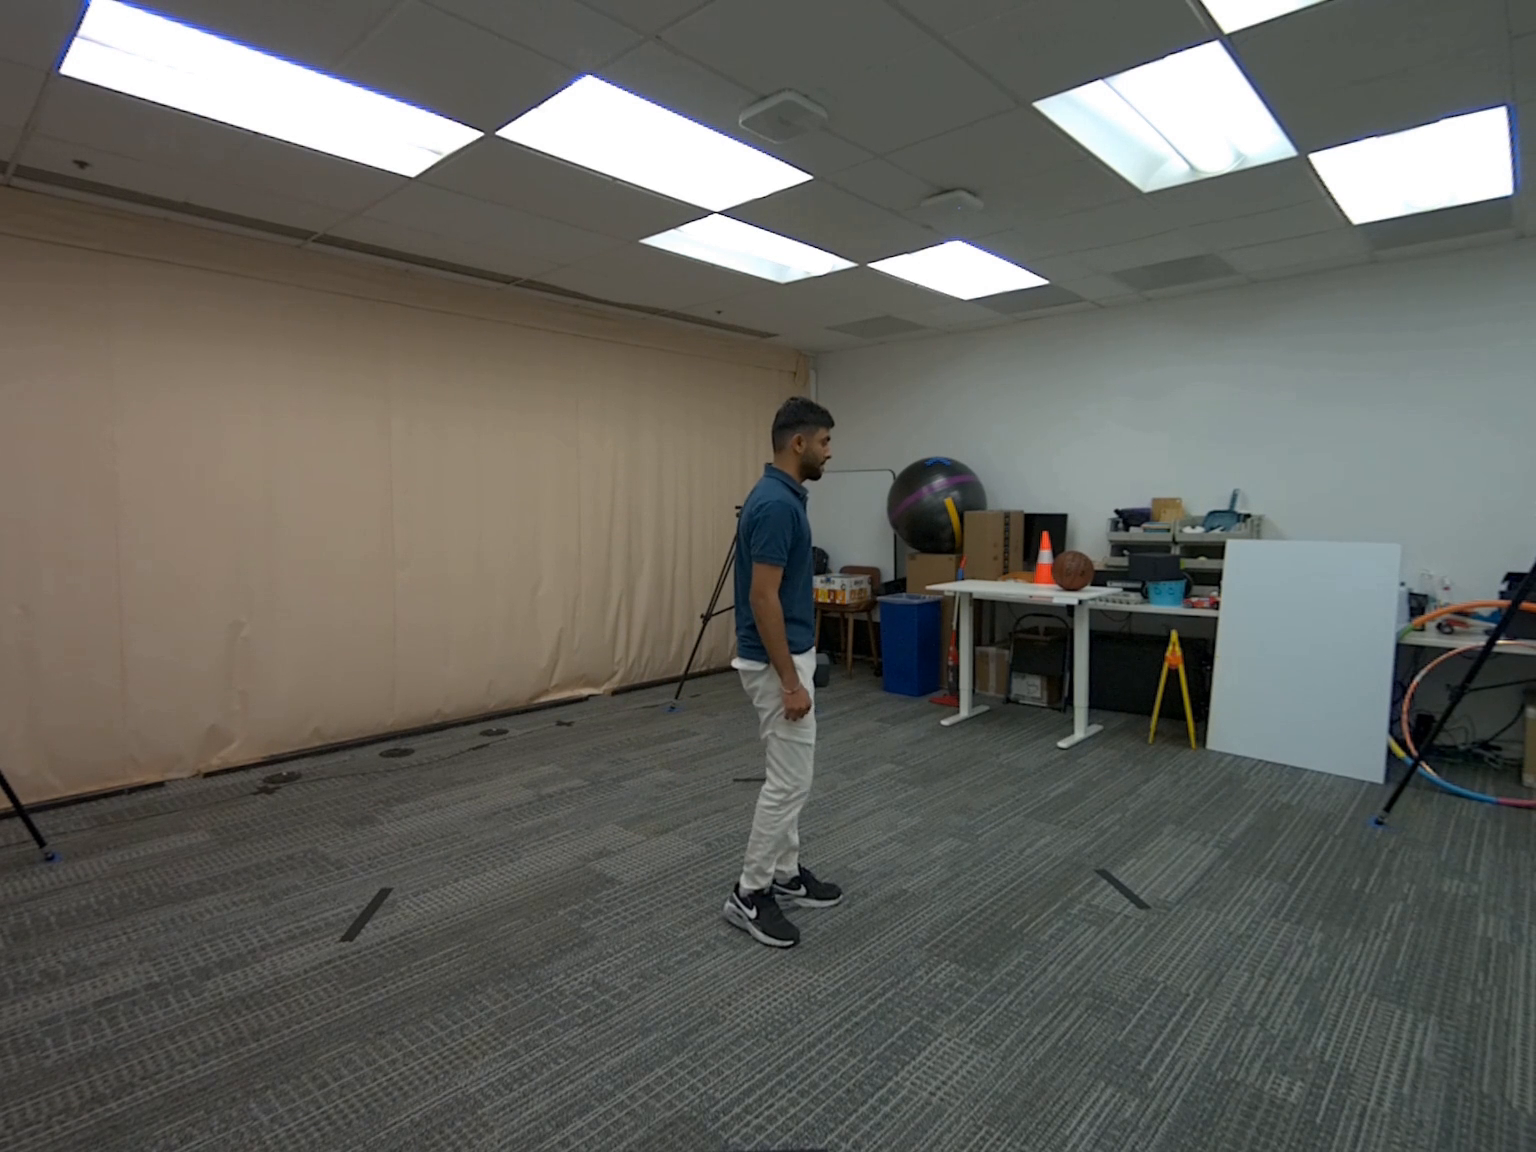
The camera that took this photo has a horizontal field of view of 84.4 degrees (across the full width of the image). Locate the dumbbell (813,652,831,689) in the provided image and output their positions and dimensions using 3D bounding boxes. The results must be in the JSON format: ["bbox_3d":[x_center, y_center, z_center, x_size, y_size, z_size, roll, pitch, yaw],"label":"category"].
[{"bbox_3d":[0.084,0.339,3.044,0.293,0.123,0.109,-2,0,-1],"label":"dumbbell"}]
